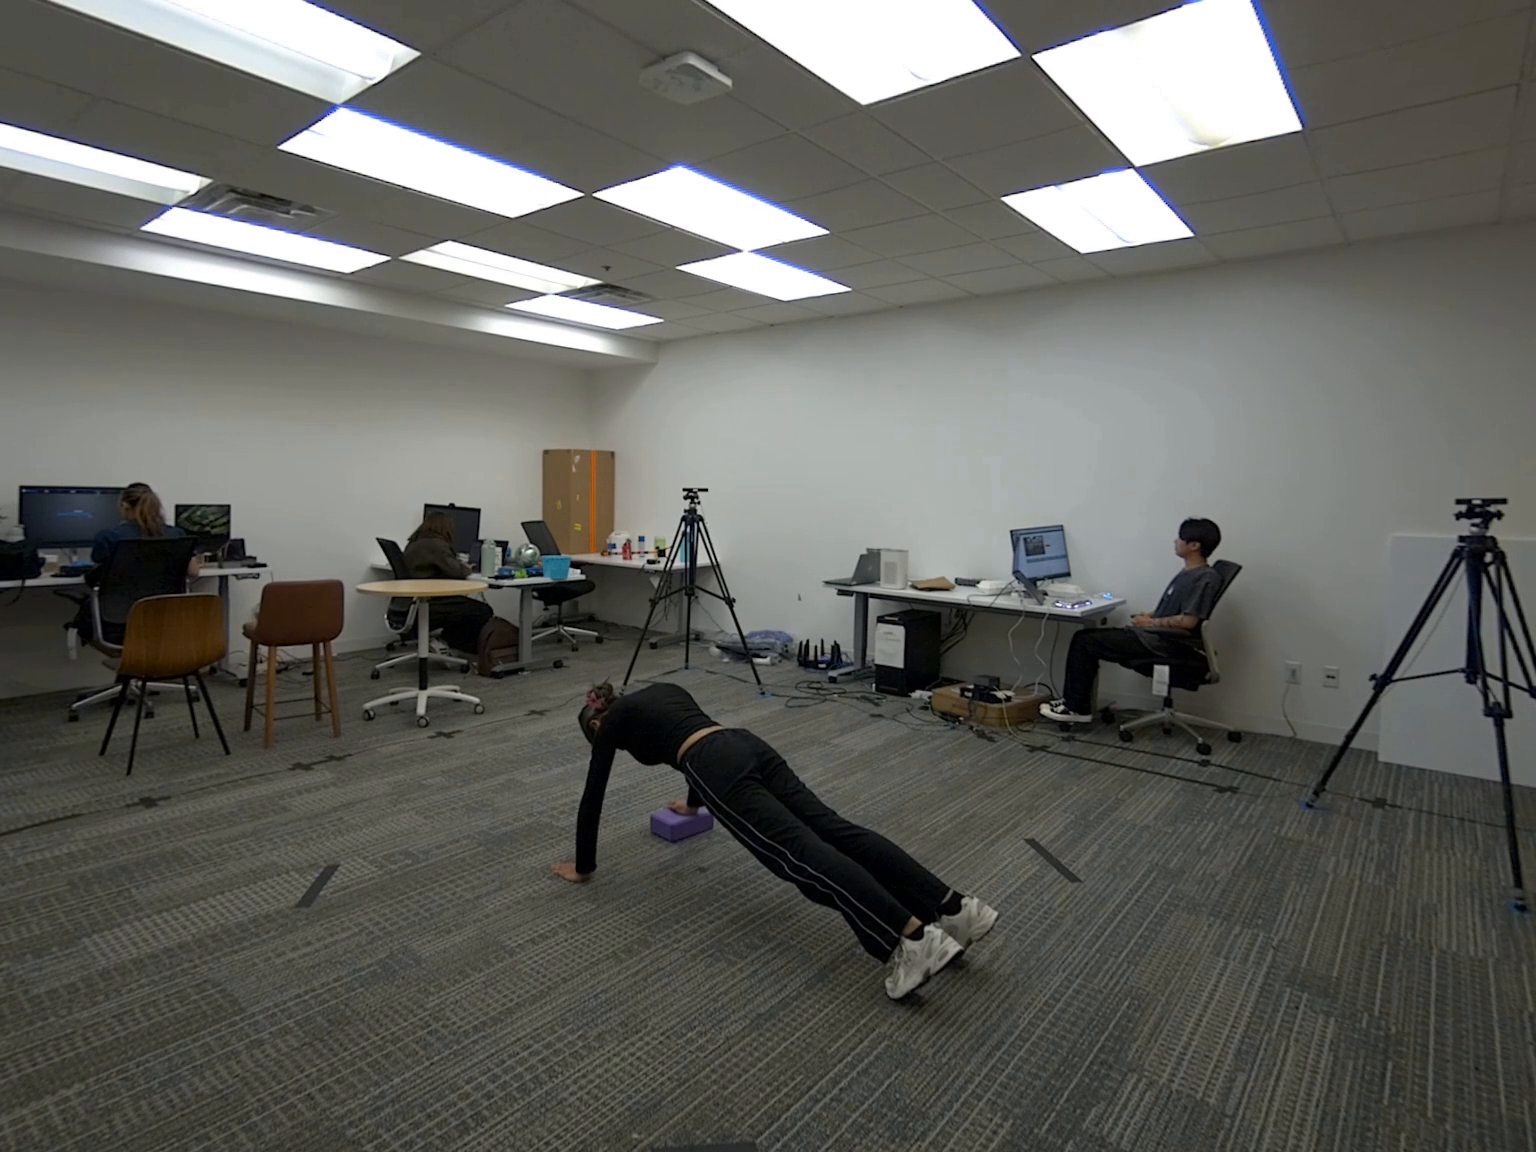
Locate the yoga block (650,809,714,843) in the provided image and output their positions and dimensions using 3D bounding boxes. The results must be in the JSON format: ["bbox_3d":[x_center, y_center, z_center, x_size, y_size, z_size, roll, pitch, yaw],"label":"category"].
[{"bbox_3d":[-0.360,0.997,3.461,0.222,0.076,0.154,-2,6,-44],"label":"yoga block"}]
